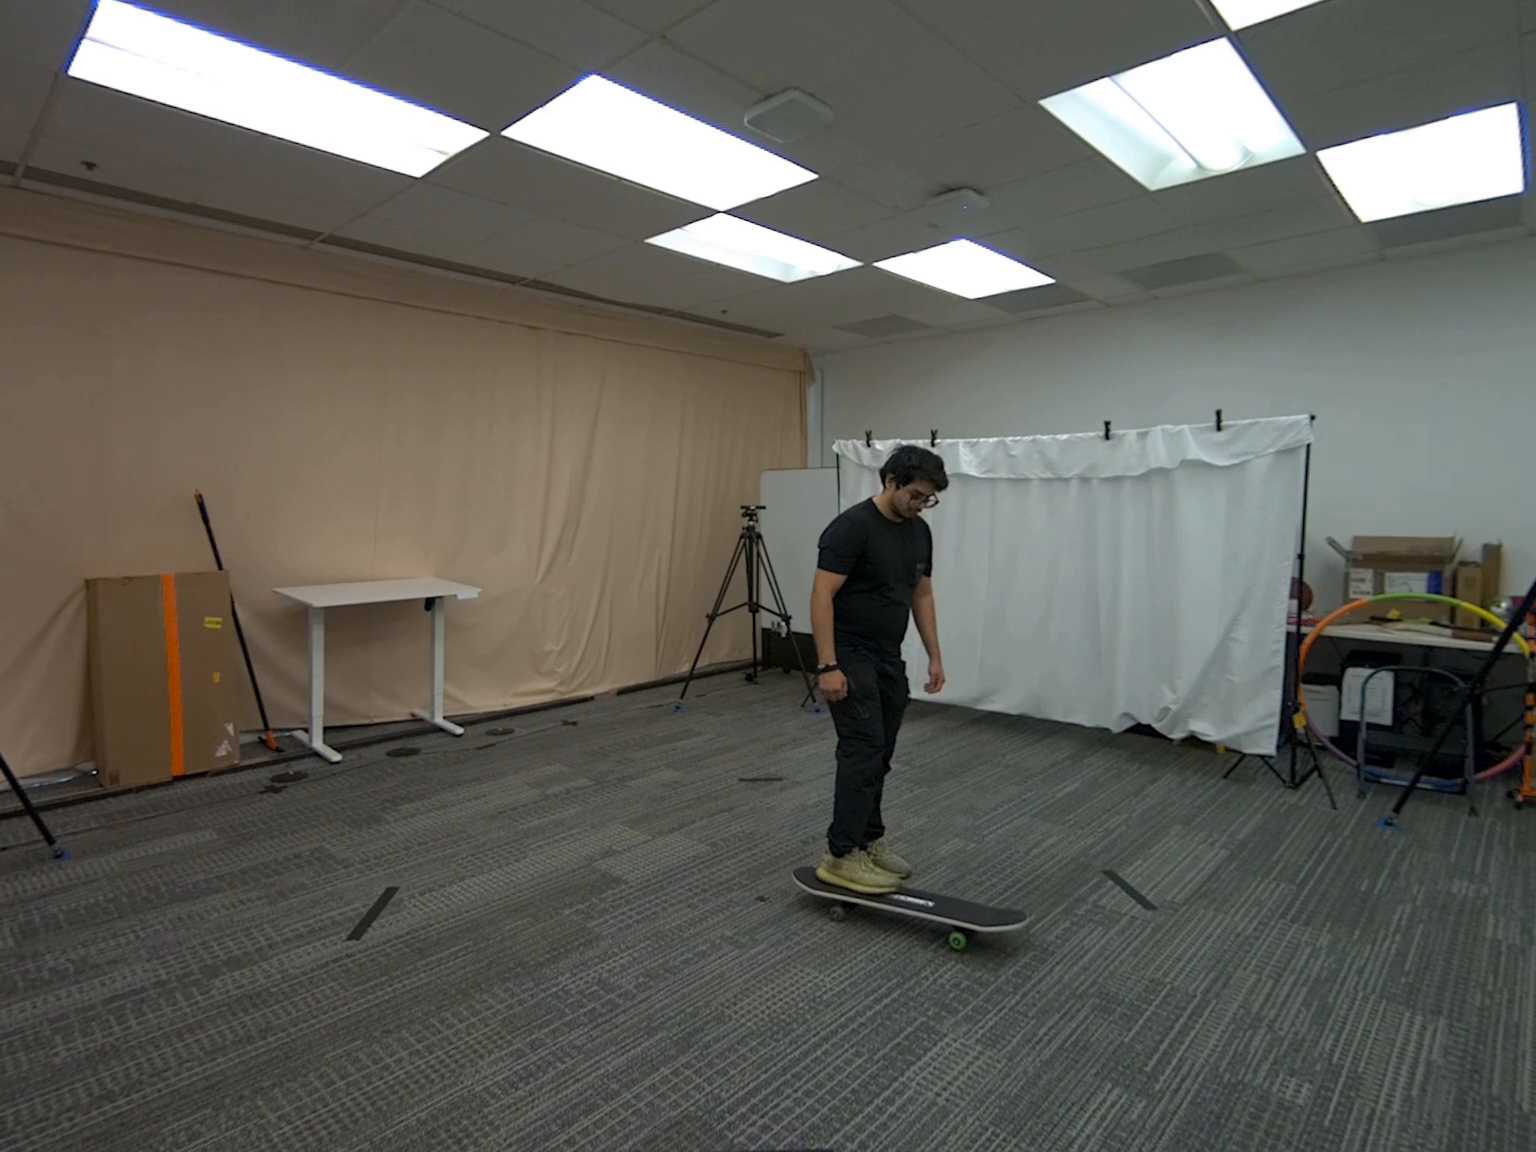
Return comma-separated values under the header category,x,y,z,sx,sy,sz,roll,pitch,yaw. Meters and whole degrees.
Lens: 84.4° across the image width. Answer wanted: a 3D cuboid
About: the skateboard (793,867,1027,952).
category,x,y,z,sx,sy,sz,roll,pitch,yaw
skateboard,0.457,1.100,2.788,0.807,0.110,0.188,1,0,28
